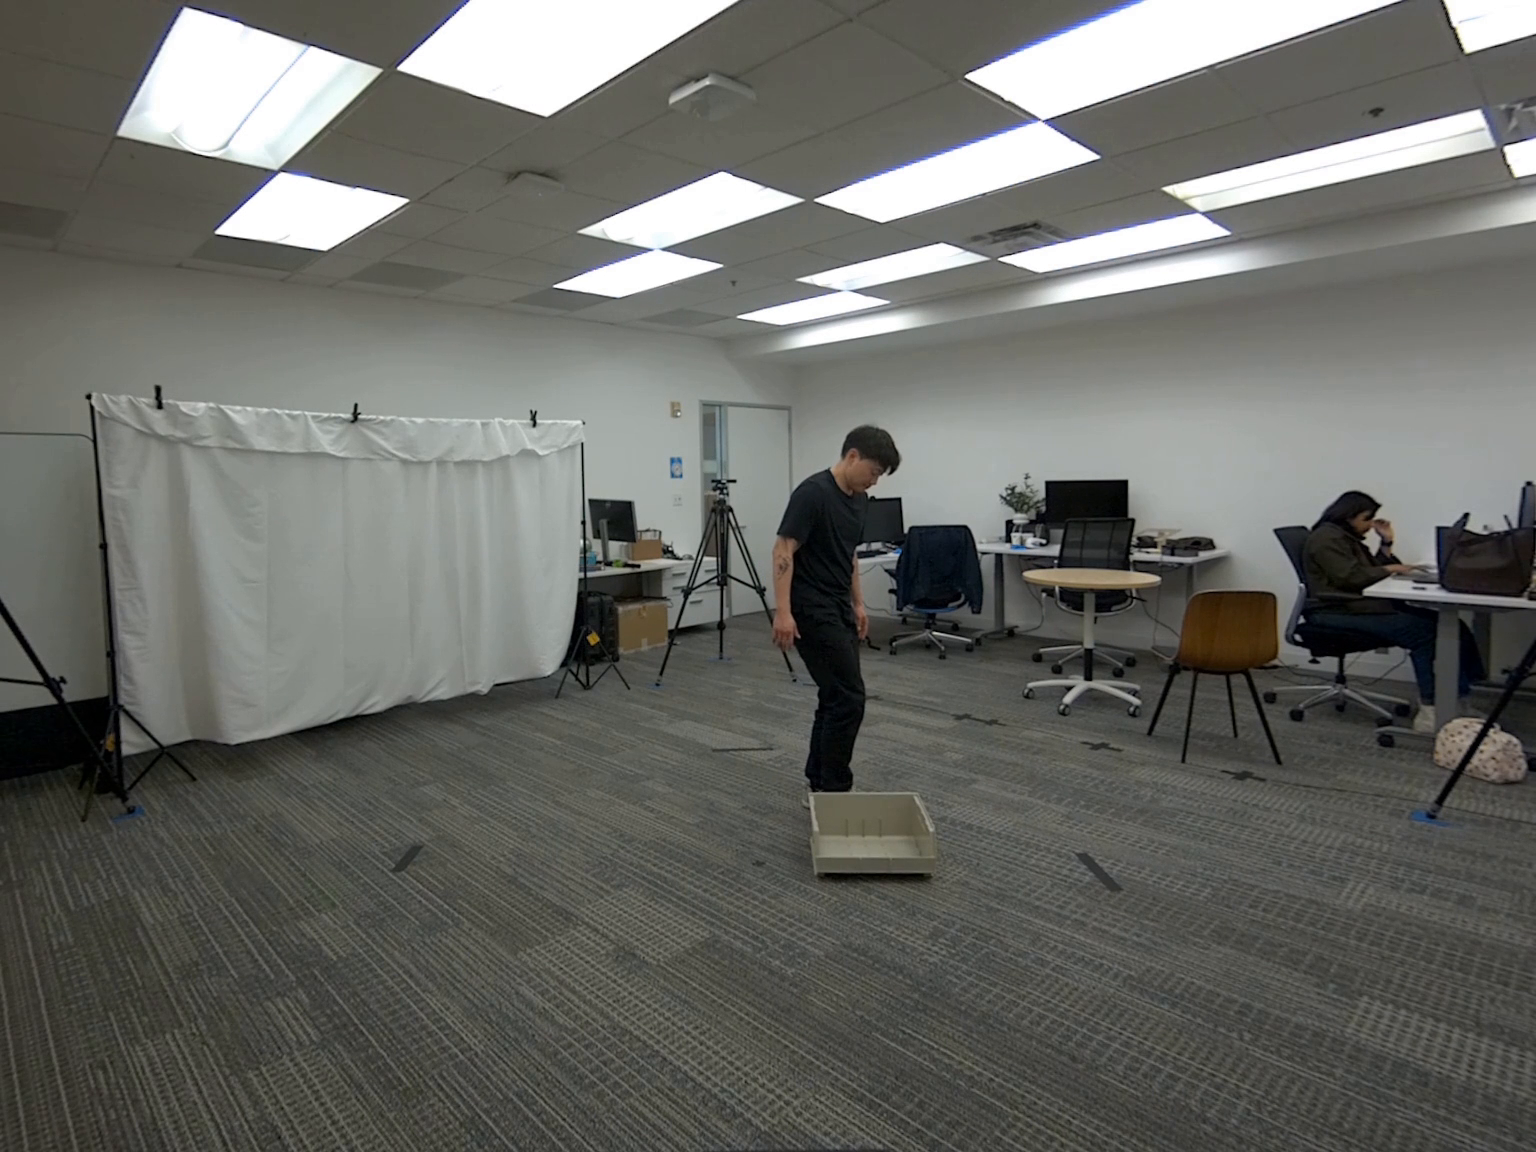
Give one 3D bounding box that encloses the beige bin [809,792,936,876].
[{"bbox_3d":[0.374,0.950,3.123,0.423,0.188,0.378,-2,5,2],"label":"beige bin"}]
